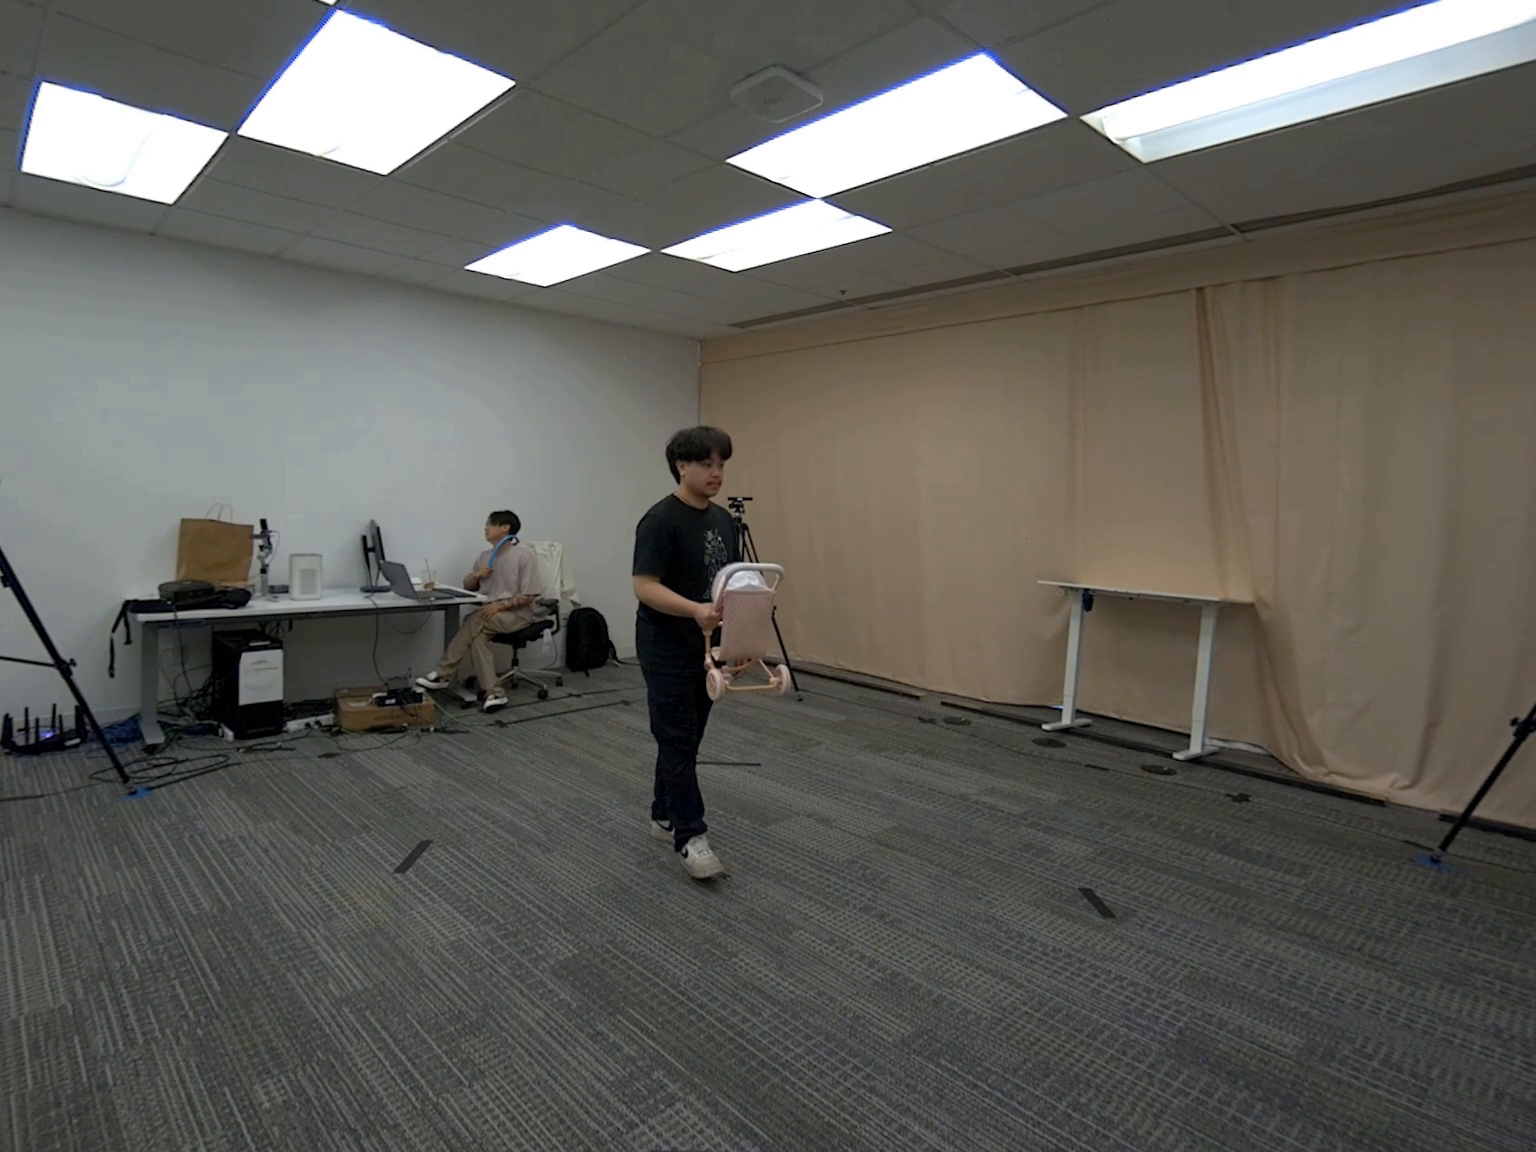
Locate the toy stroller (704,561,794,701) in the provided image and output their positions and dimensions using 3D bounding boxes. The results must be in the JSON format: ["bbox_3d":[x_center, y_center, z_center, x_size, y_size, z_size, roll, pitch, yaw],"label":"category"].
[{"bbox_3d":[-0.105,0.193,2.971,0.278,0.531,0.348,-1,9,-17],"label":"toy stroller"}]
